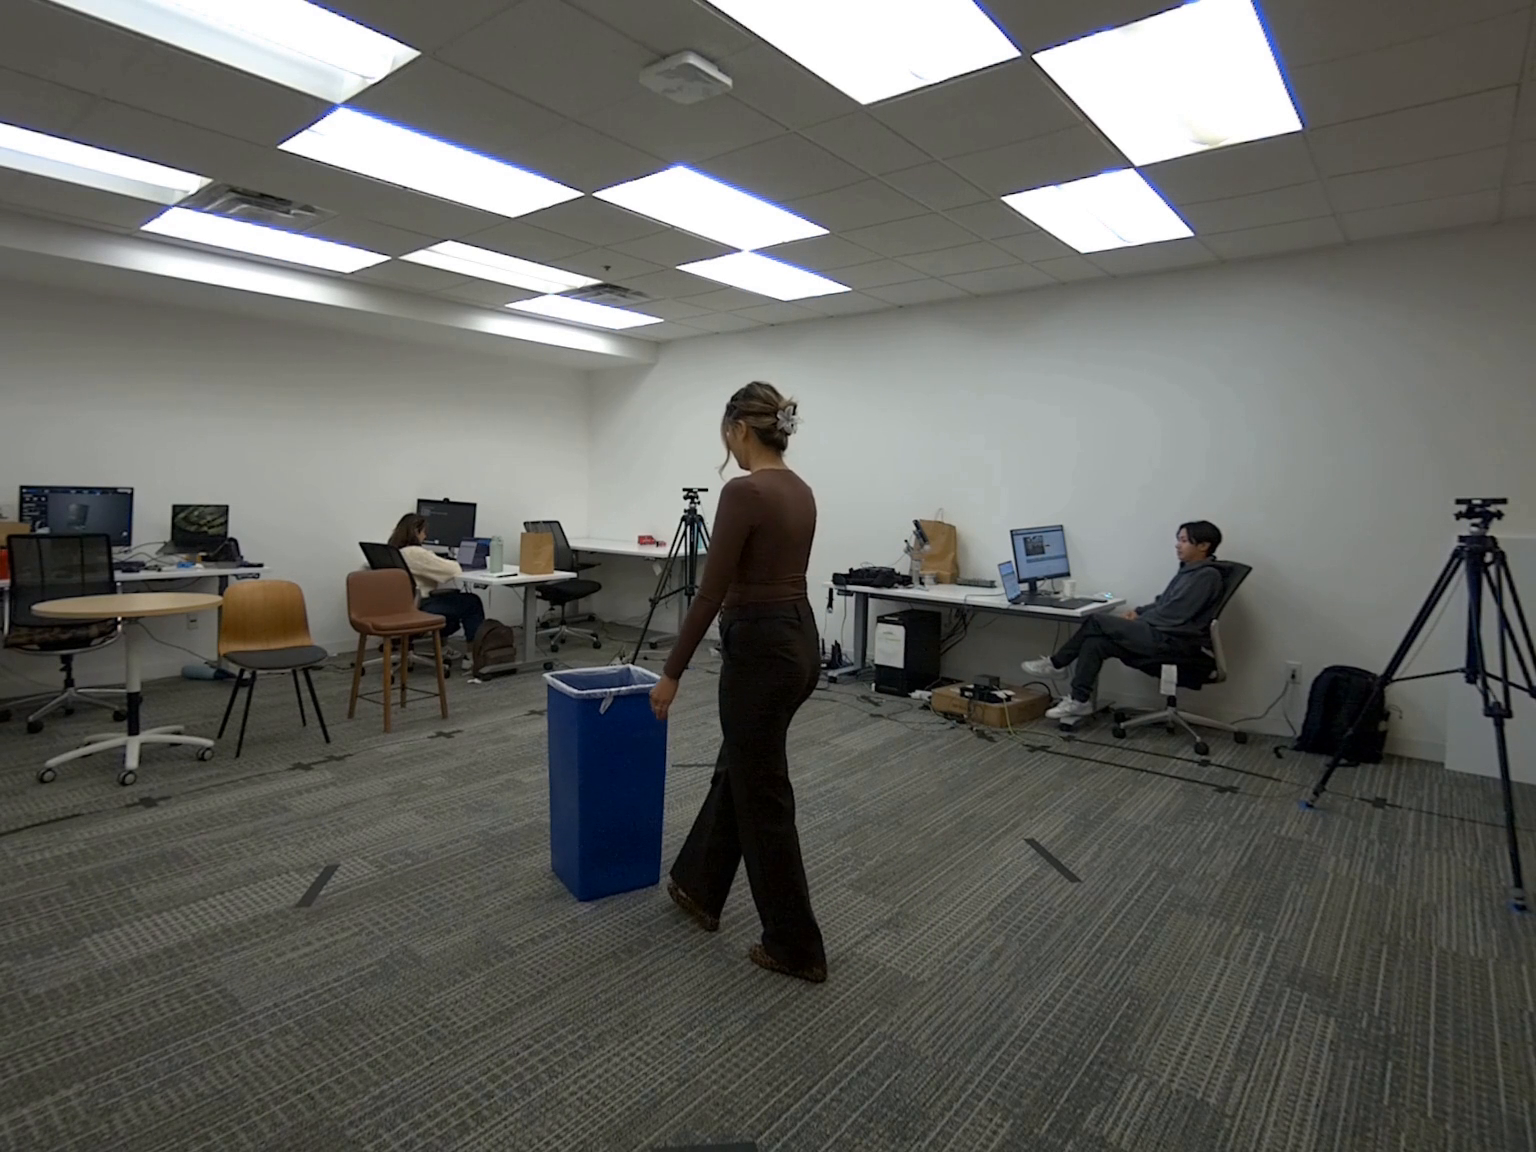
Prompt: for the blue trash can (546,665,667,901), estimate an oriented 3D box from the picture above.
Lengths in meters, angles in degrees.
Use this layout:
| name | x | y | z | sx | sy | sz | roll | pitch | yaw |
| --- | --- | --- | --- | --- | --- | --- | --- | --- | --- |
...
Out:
| name | x | y | z | sx | sy | sz | roll | pitch | yaw |
| --- | --- | --- | --- | --- | --- | --- | --- | --- | --- |
| blue trash can | -0.595 | 0.712 | 3.028 | 0.367 | 0.712 | 0.386 | 0 | 3 | -33 |
